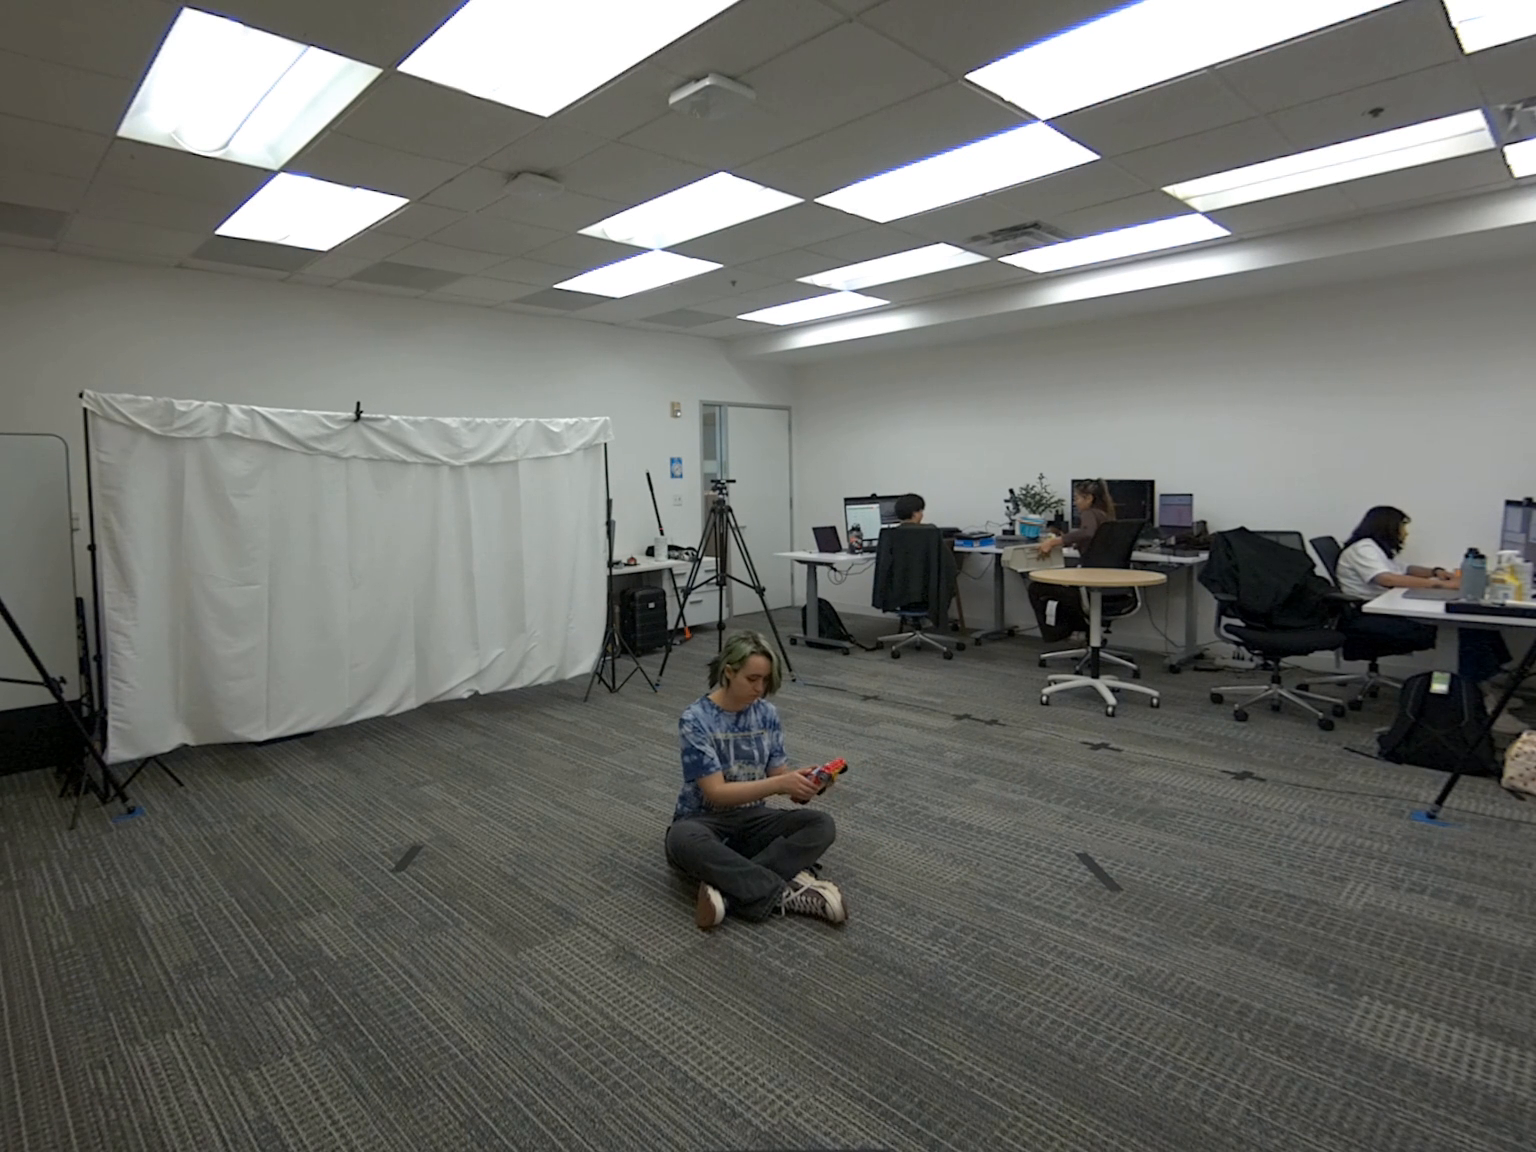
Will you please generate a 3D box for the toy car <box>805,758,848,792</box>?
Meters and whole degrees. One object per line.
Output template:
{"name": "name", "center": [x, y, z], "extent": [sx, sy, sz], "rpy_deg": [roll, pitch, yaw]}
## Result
{"name": "toy car", "center": [0.167, 0.701, 2.907], "extent": [0.127, 0.084, 0.256], "rpy_deg": [-16, -16, -46]}
